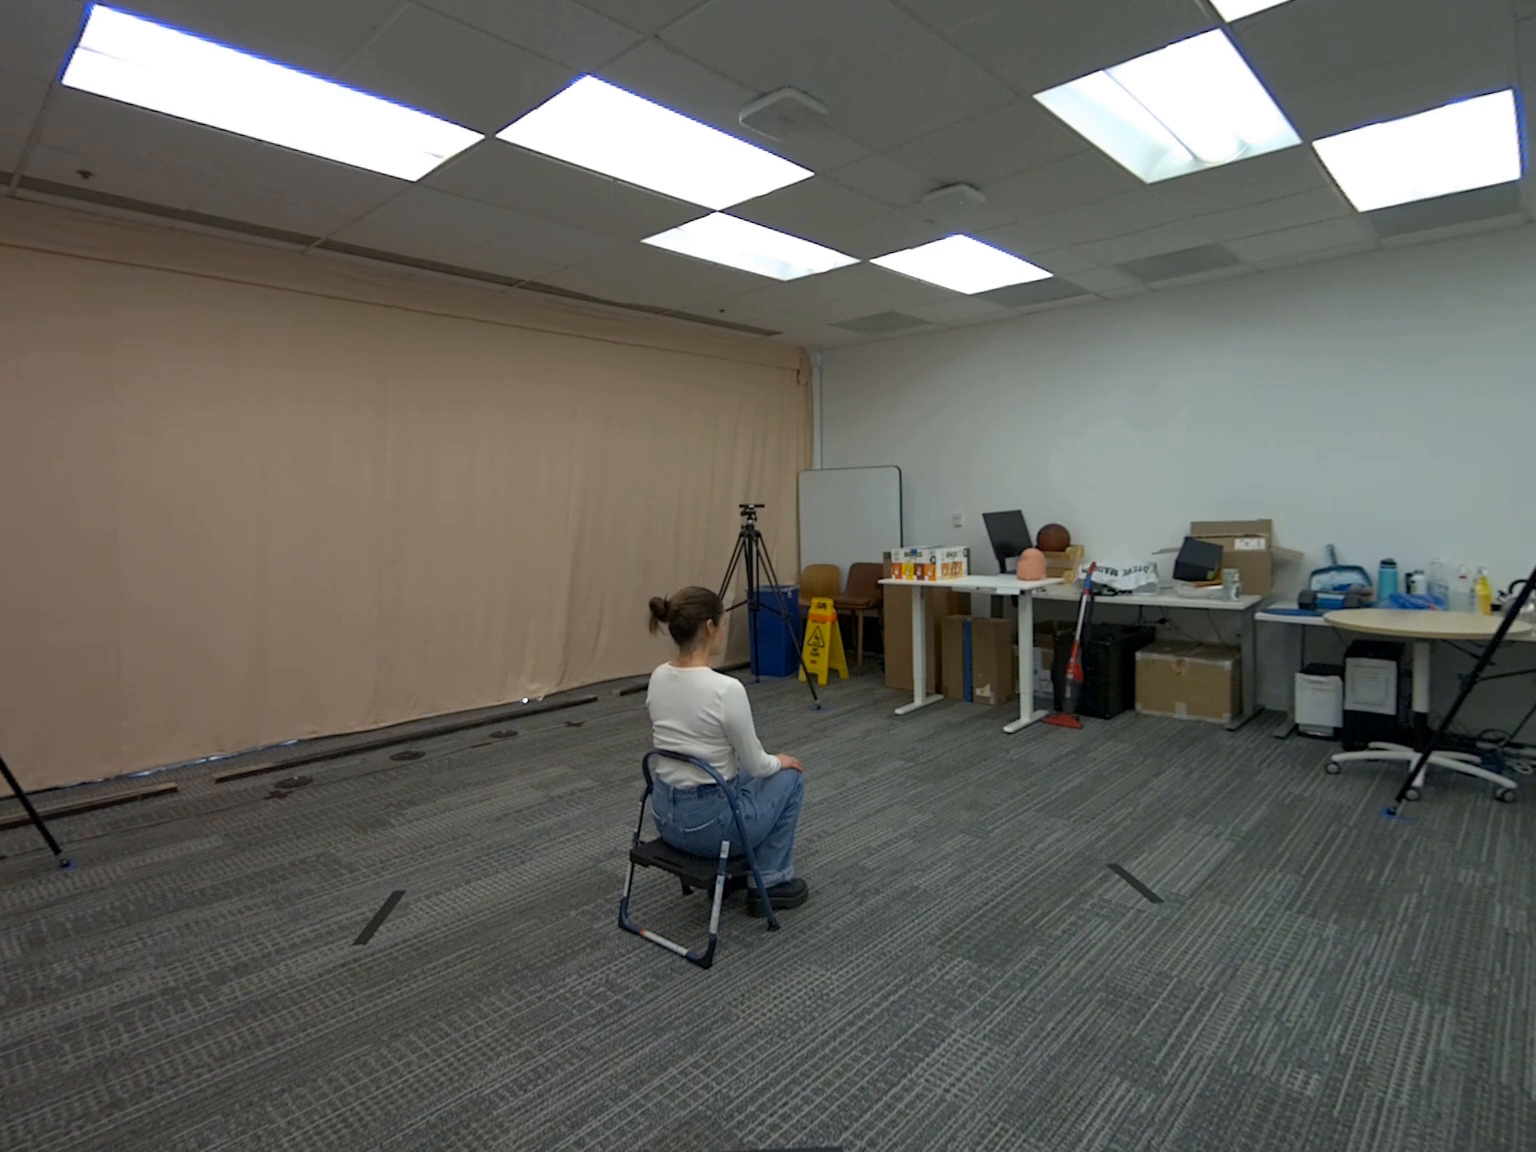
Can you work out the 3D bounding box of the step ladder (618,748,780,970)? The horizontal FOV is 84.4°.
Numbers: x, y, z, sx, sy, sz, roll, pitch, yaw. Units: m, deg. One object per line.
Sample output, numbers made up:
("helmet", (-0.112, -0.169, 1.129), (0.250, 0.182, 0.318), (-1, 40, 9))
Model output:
("step ladder", (-0.241, 0.858, 2.765), (0.445, 0.605, 0.339), (2, 4, 40))
